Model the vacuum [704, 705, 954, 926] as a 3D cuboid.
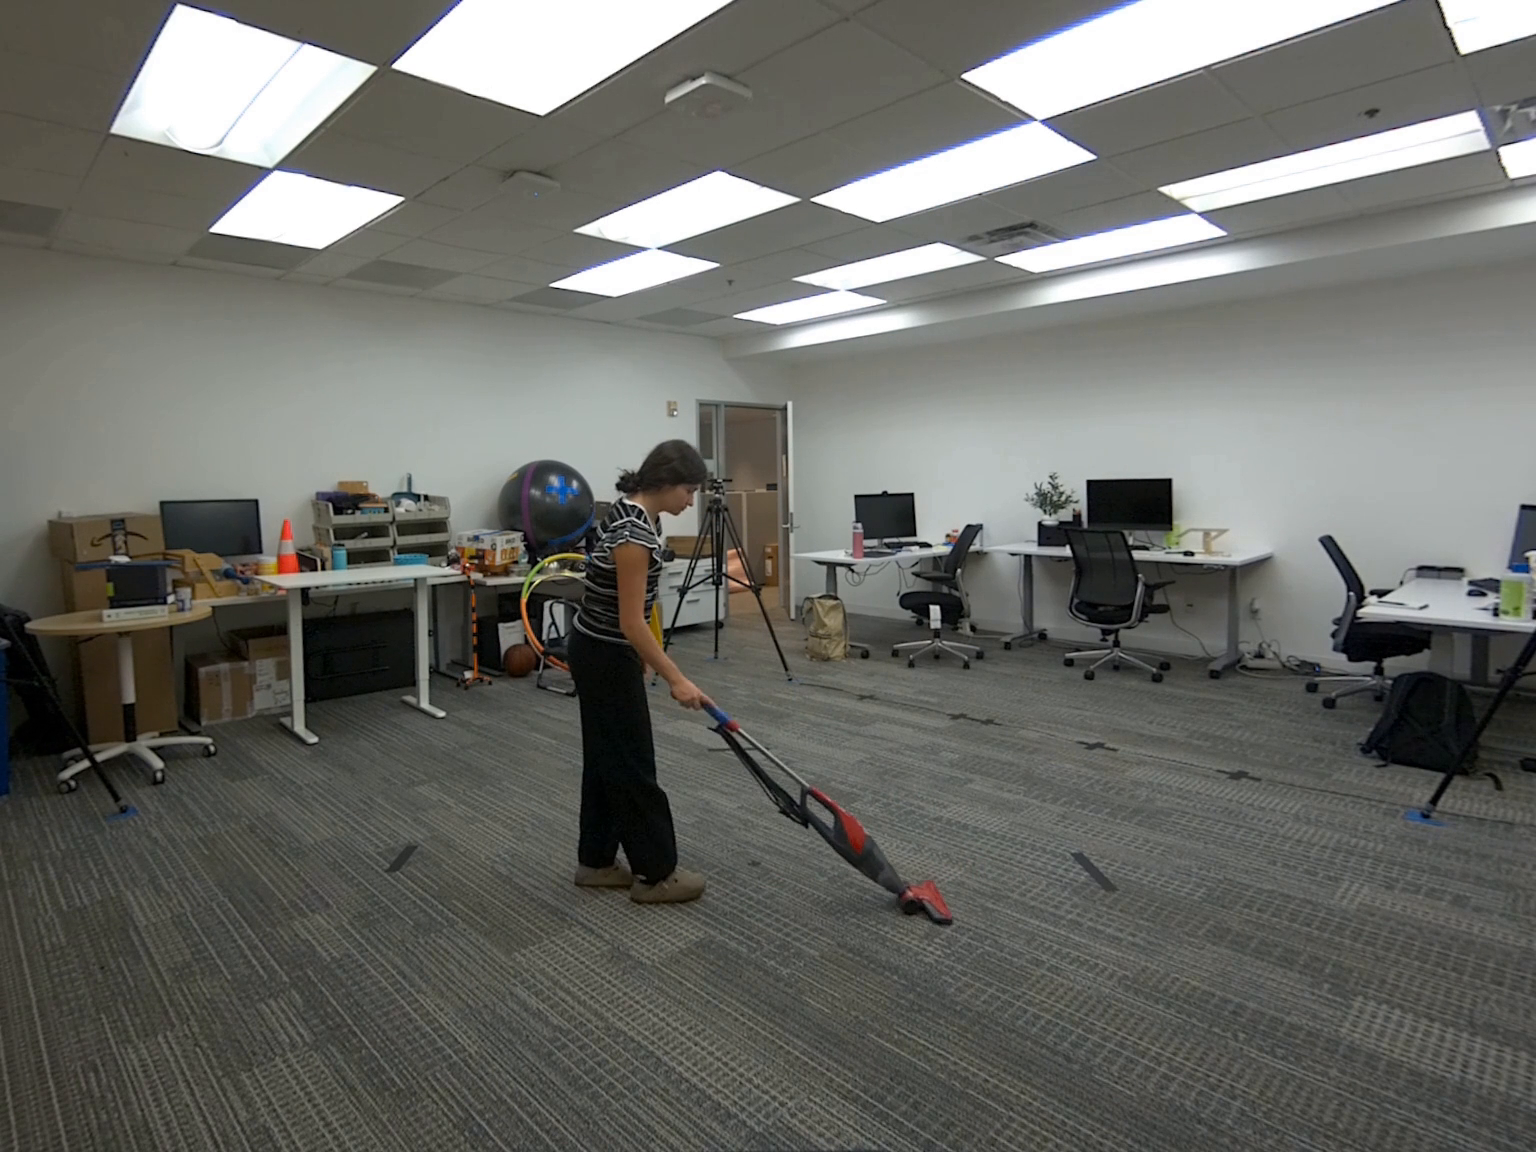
[{"bbox_3d":[0.107,0.718,2.766,1.048,0.144,0.253,40,-1,-1],"label":"vacuum"}]
